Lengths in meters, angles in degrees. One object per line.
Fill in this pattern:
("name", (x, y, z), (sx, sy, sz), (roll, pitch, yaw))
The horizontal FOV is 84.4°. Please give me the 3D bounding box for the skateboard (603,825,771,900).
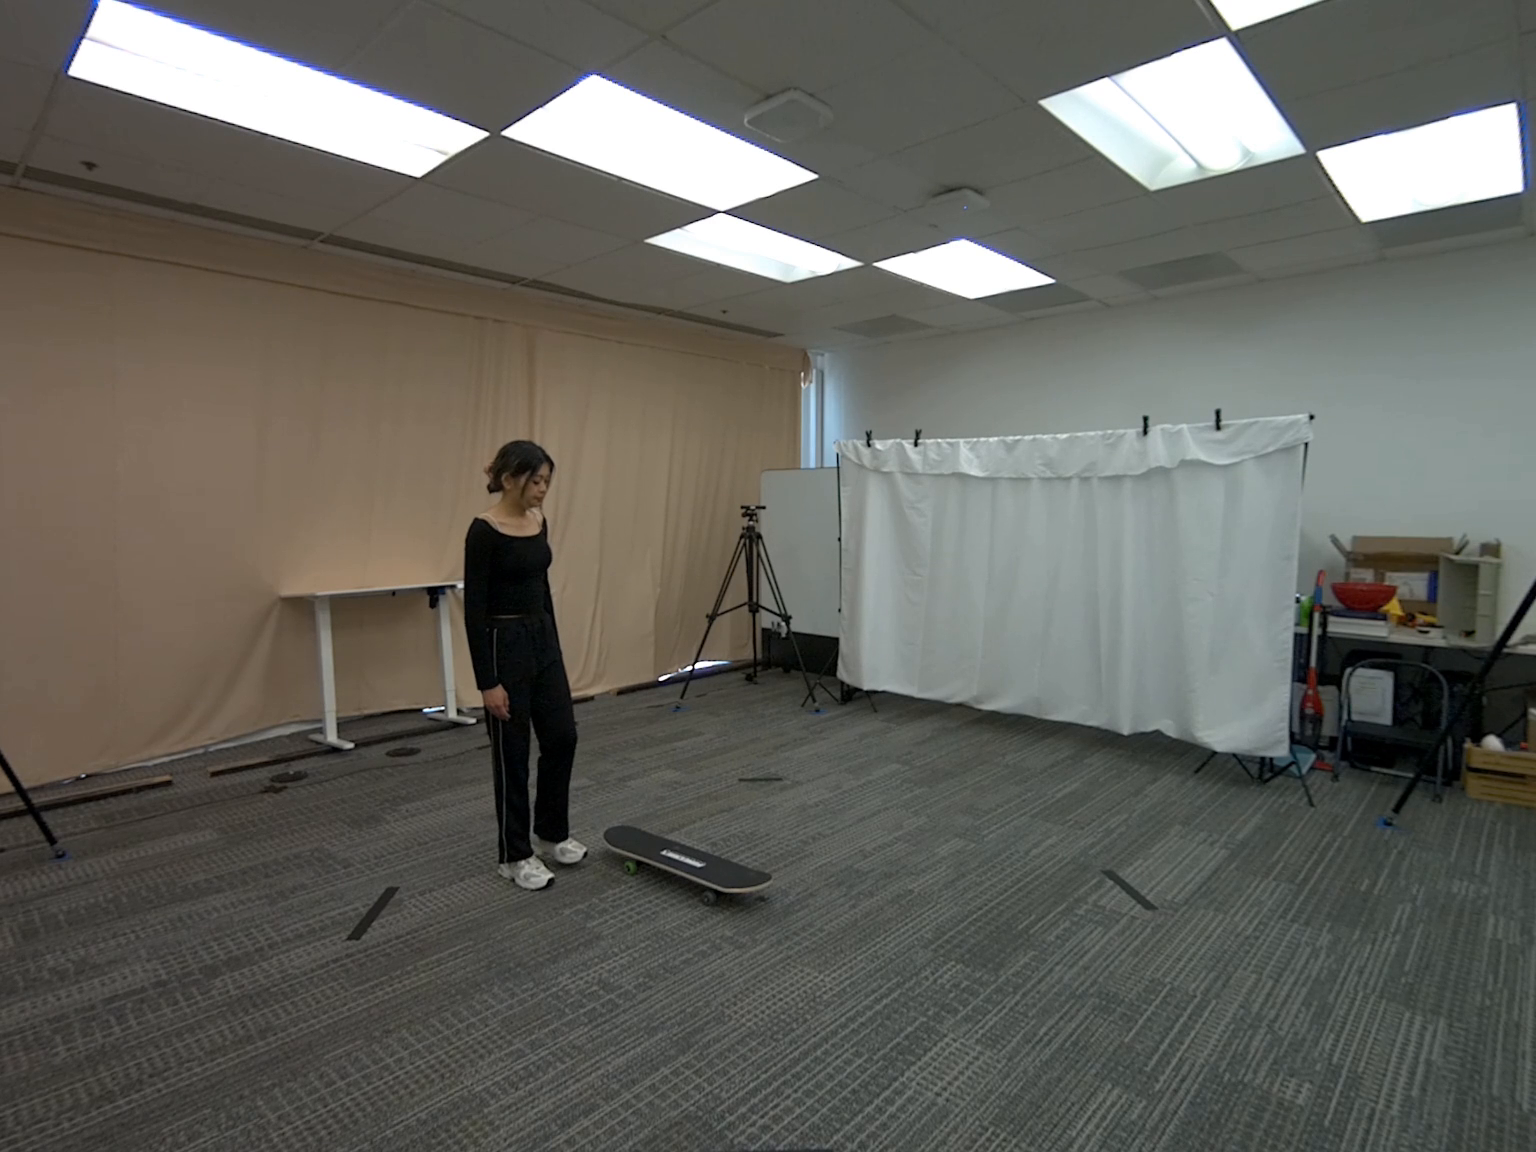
("skateboard", (-0.318, 1.079, 3.123), (0.811, 0.110, 0.188), (3, 5, 39))
